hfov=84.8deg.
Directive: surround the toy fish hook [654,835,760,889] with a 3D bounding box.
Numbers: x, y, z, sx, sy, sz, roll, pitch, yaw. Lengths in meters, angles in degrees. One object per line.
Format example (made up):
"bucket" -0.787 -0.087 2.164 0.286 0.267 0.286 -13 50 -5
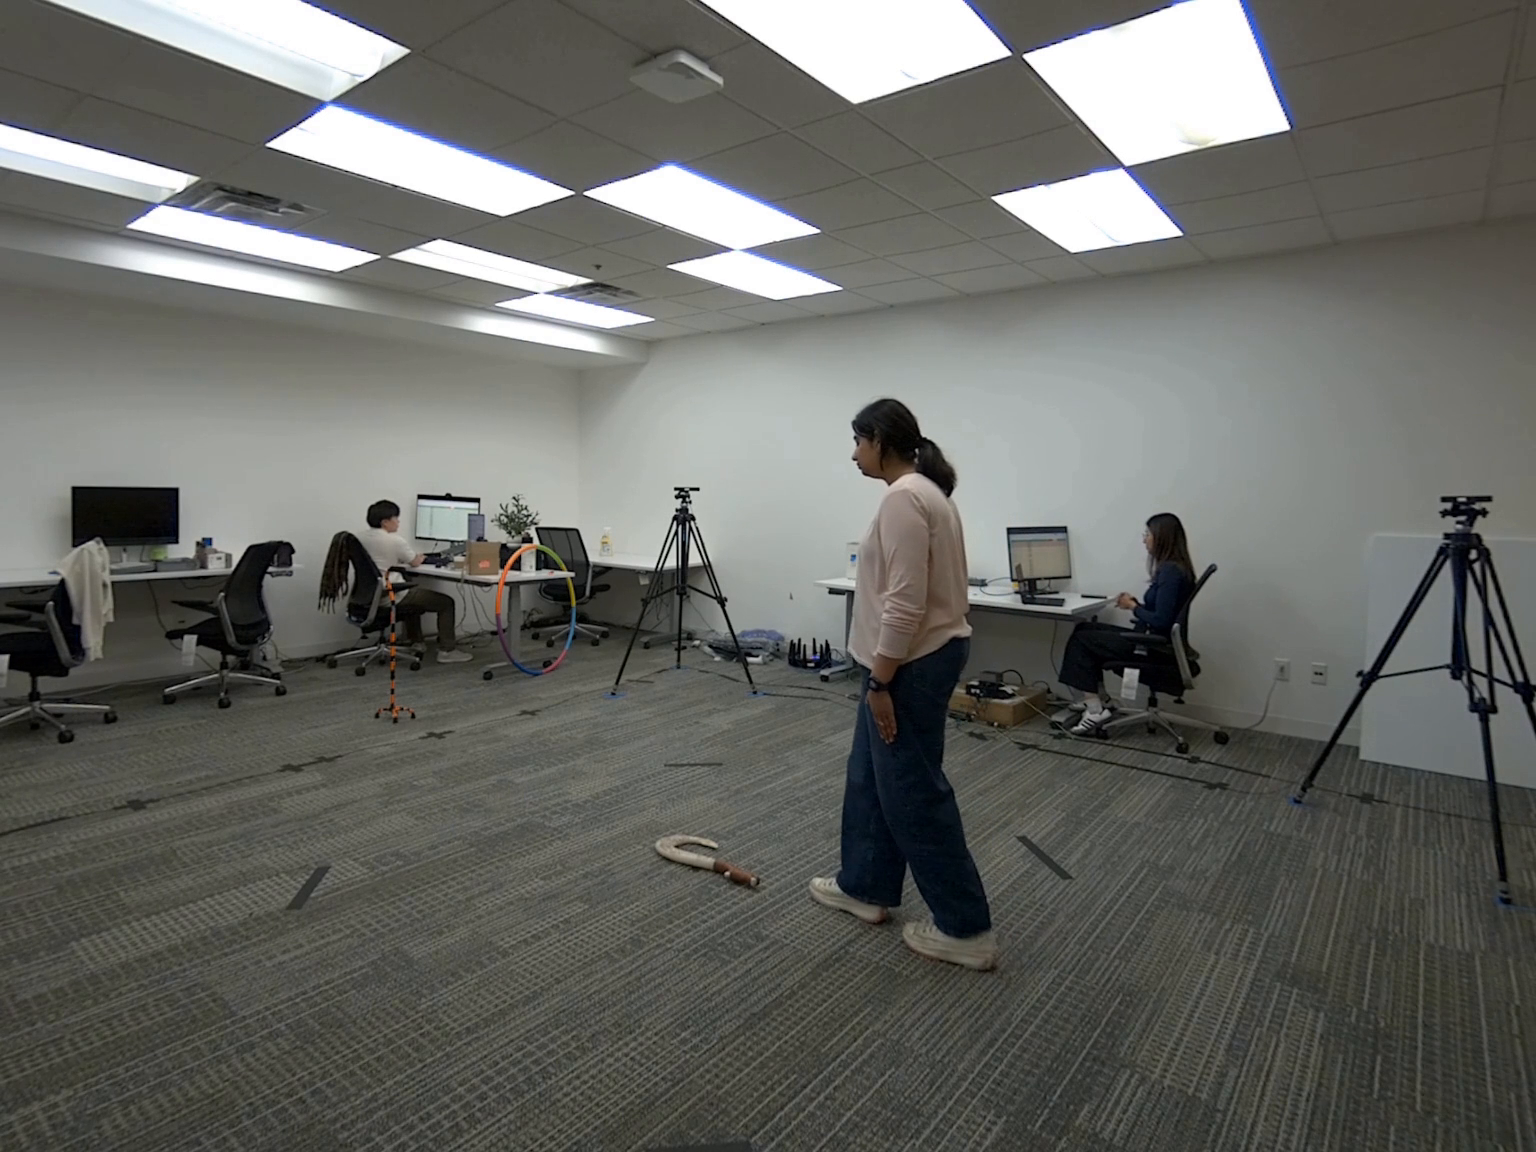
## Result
"toy fish hook" -0.210 1.039 3.154 0.524 0.048 0.218 6 9 40
